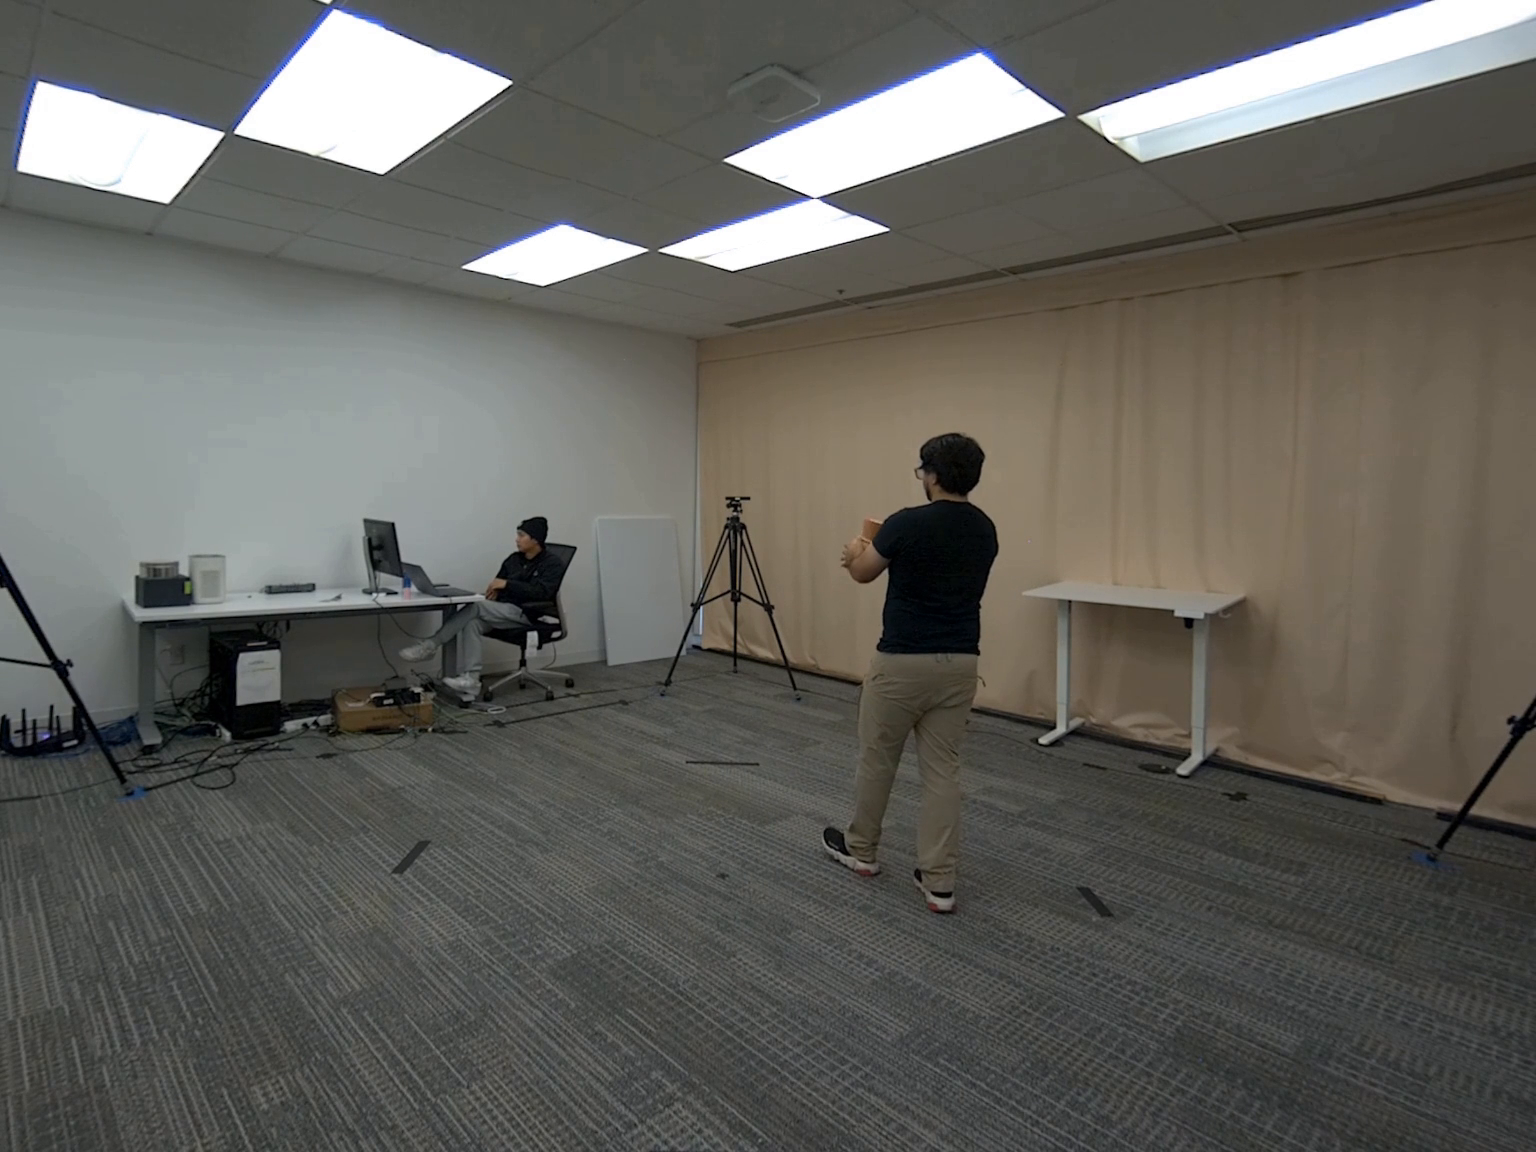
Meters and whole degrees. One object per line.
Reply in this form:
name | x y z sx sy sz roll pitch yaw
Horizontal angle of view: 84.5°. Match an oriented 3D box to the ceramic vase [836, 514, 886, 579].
ceramic vase | 0.397 -0.121 3.421 0.163 0.218 0.132 19 13 27
